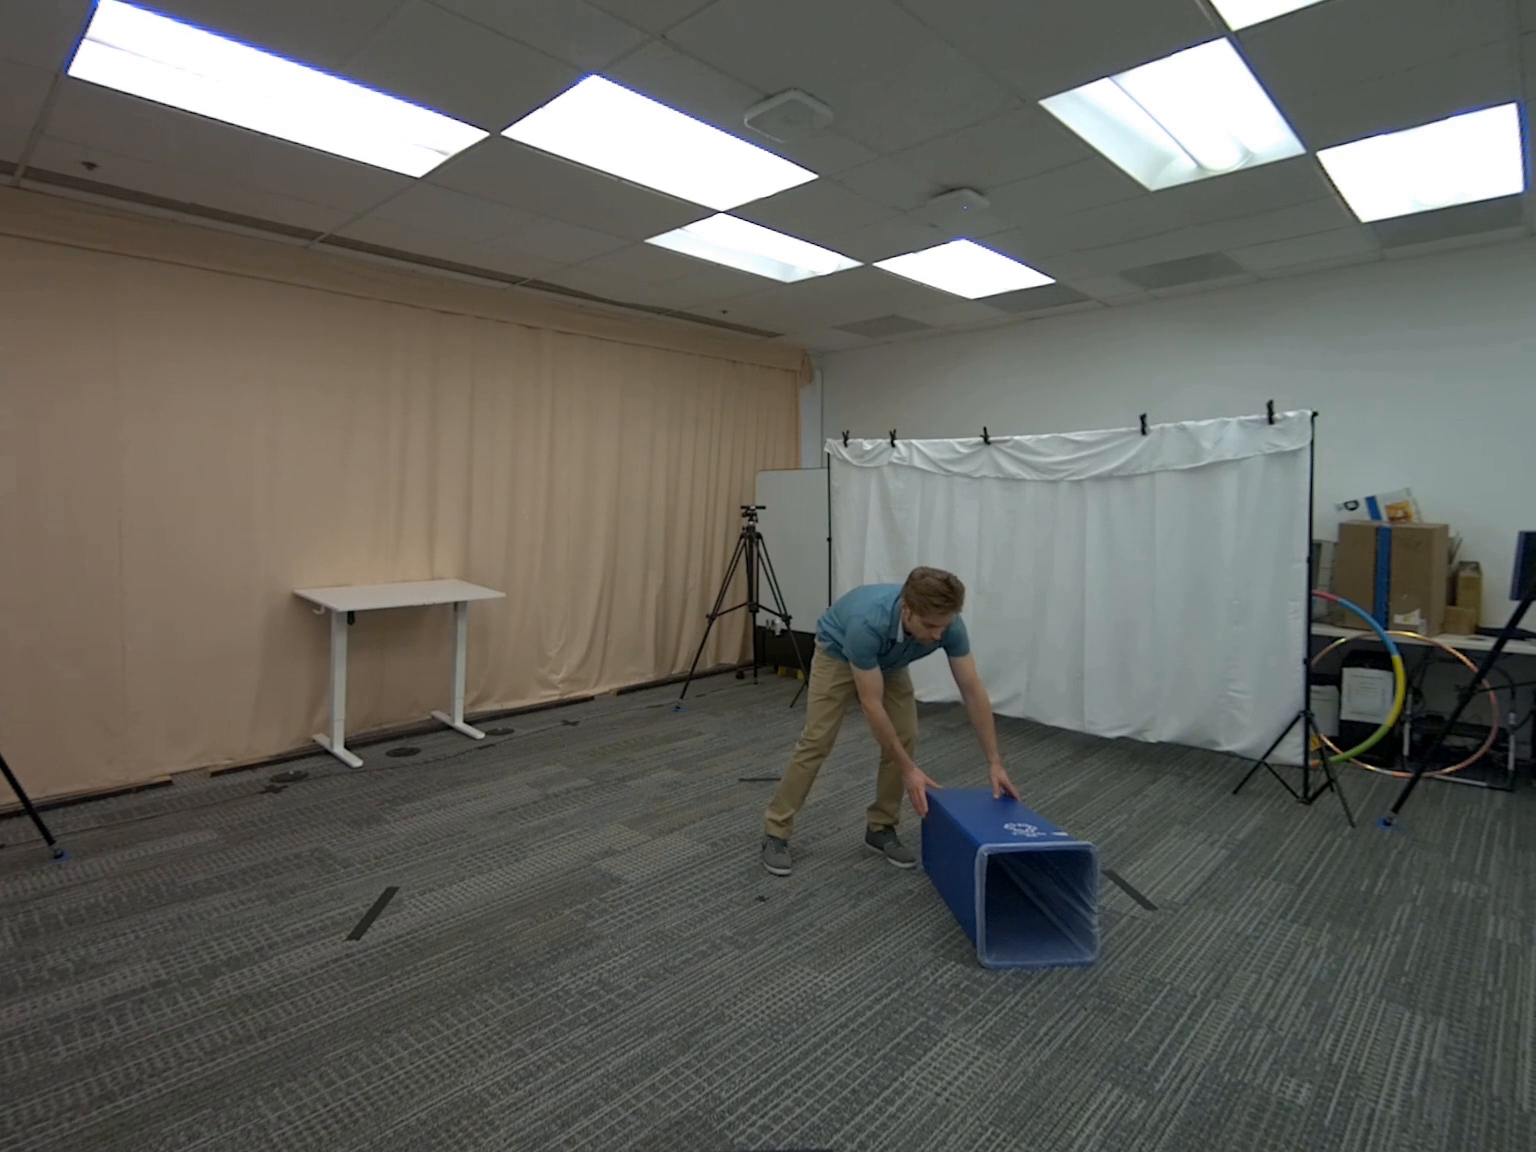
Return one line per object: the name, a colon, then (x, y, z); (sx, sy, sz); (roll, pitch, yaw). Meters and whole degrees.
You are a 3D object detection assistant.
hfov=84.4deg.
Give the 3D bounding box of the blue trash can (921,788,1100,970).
blue trash can: (0.781, 0.983, 2.879); (0.372, 0.378, 0.718); (-1, 1, -6)
